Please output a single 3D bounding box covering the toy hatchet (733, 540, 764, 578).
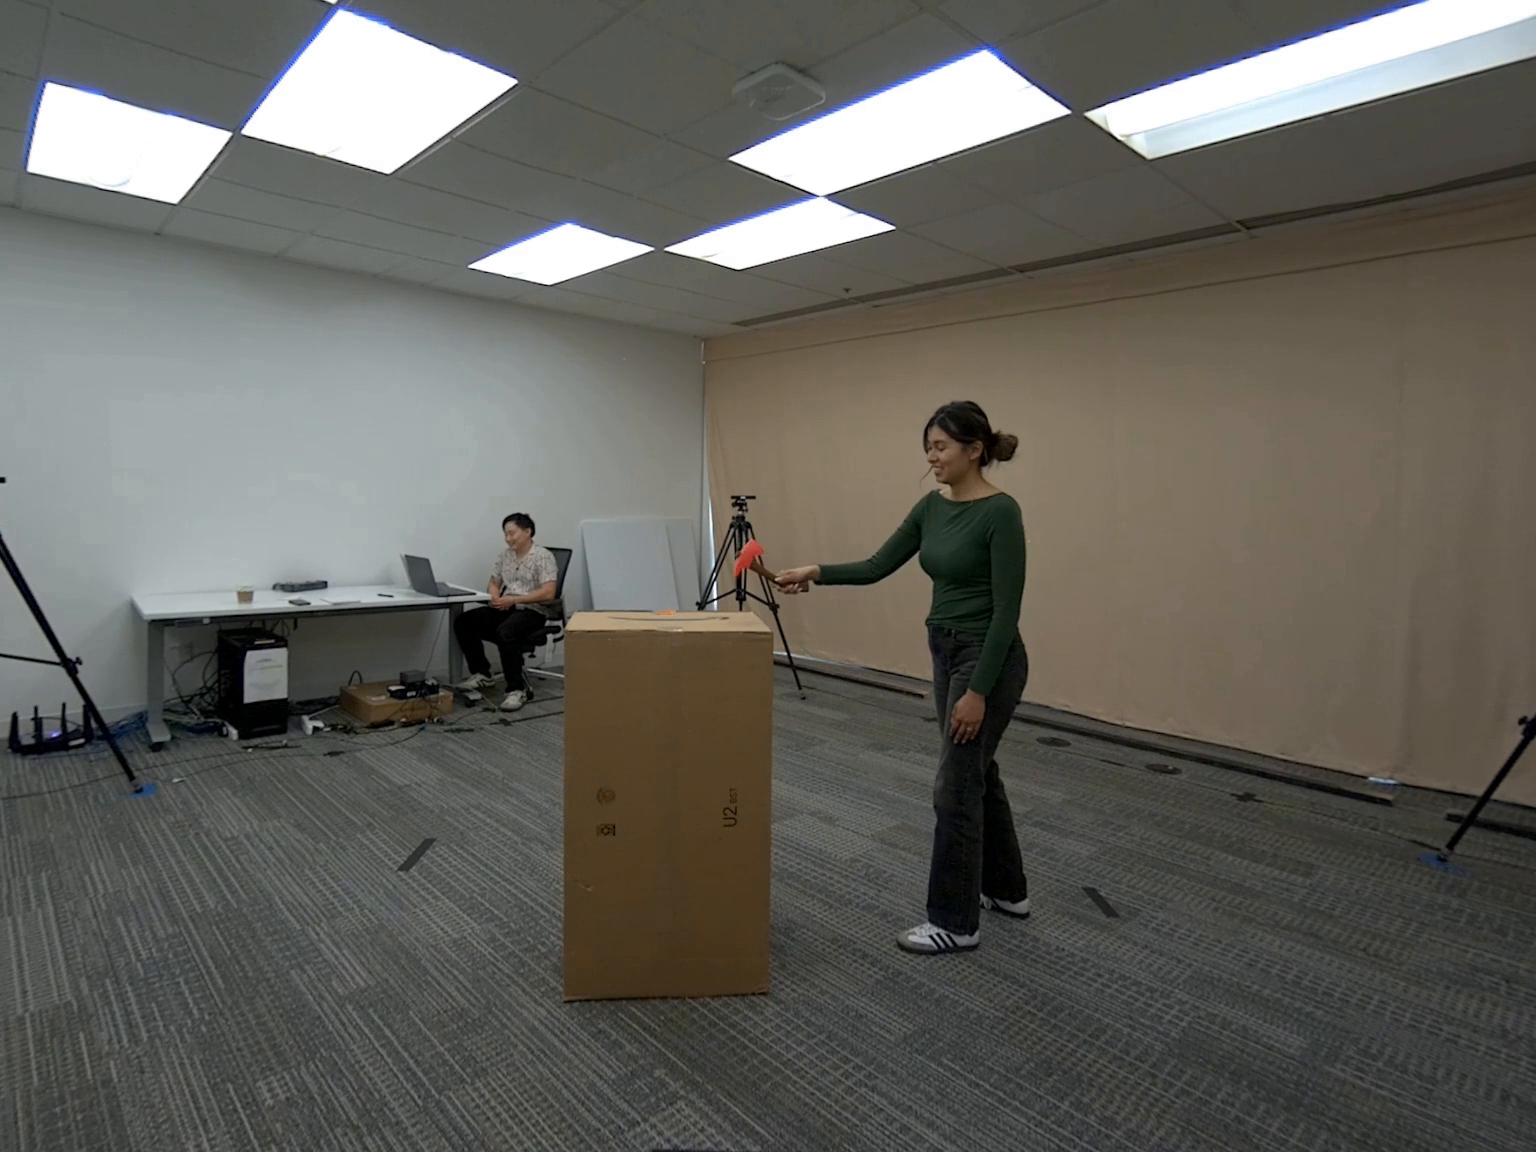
[{"bbox_3d":[0.021,-0.023,2.655,0.265,0.132,0.030,11,-13,-21],"label":"toy hatchet"}]
